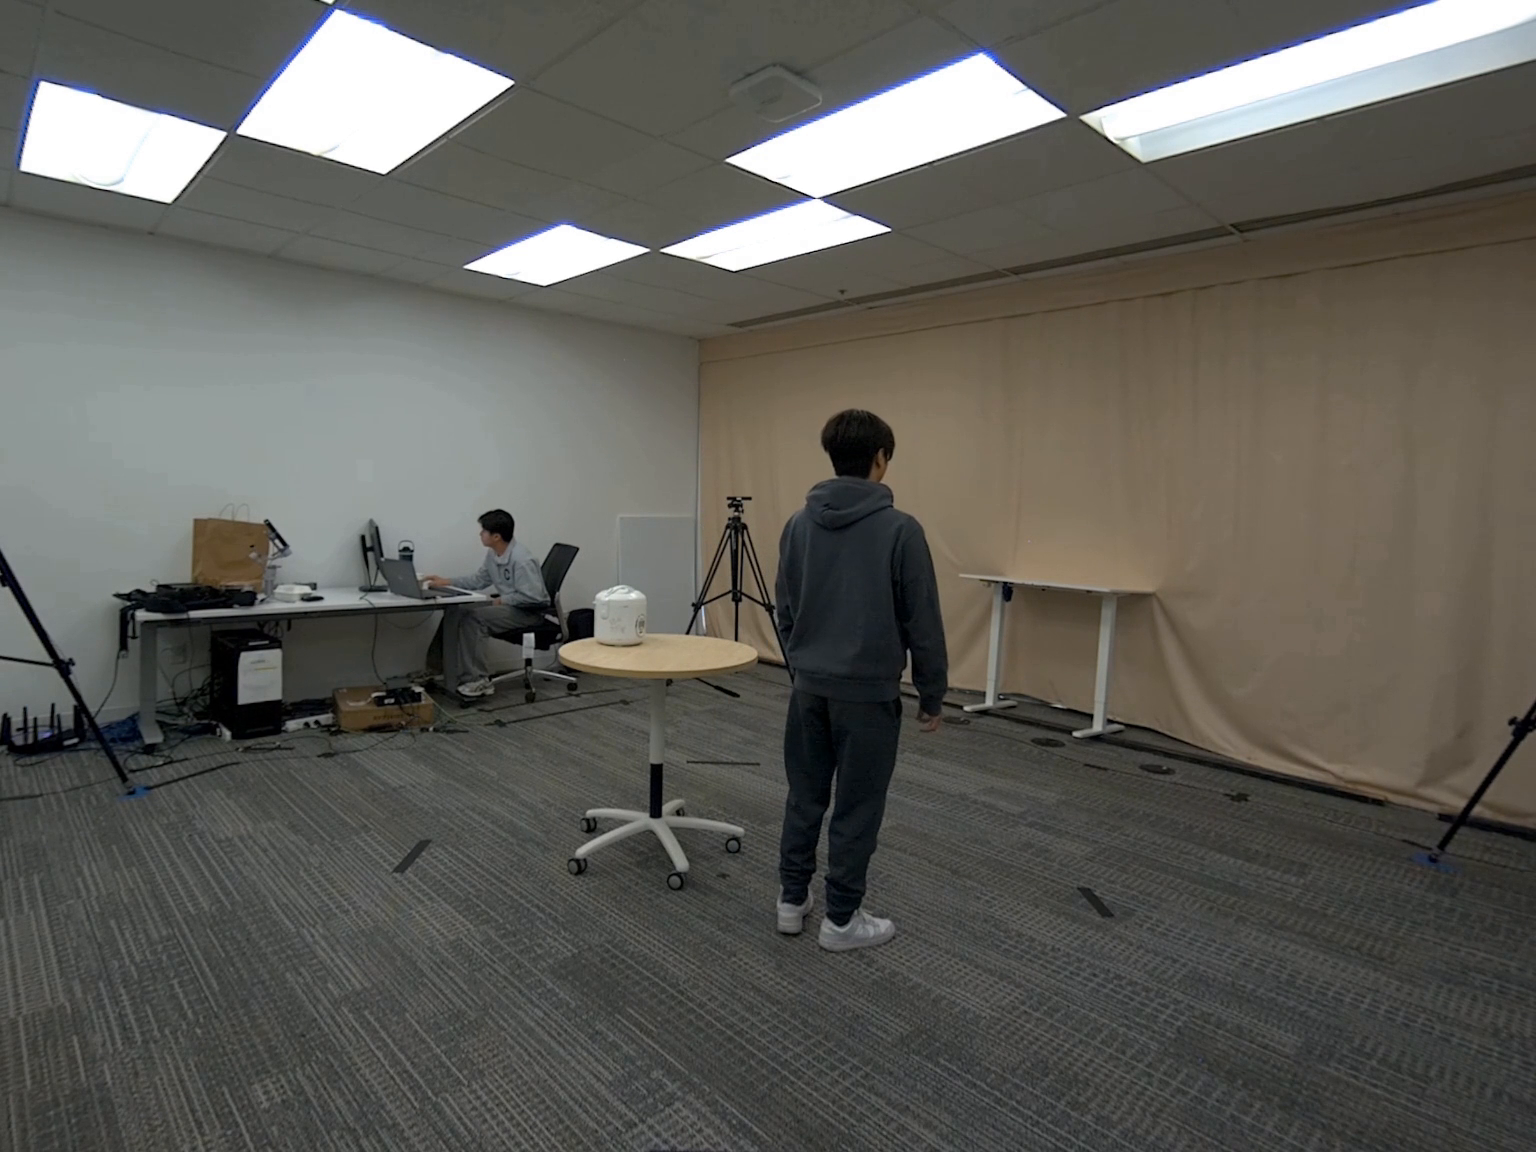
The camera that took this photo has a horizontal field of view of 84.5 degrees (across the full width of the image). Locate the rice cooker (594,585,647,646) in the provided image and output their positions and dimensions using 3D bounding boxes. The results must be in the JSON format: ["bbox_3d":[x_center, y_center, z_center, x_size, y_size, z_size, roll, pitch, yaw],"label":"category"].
[{"bbox_3d":[-0.600,0.154,3.395,0.222,0.232,0.216,4,5,30],"label":"rice cooker"}]
